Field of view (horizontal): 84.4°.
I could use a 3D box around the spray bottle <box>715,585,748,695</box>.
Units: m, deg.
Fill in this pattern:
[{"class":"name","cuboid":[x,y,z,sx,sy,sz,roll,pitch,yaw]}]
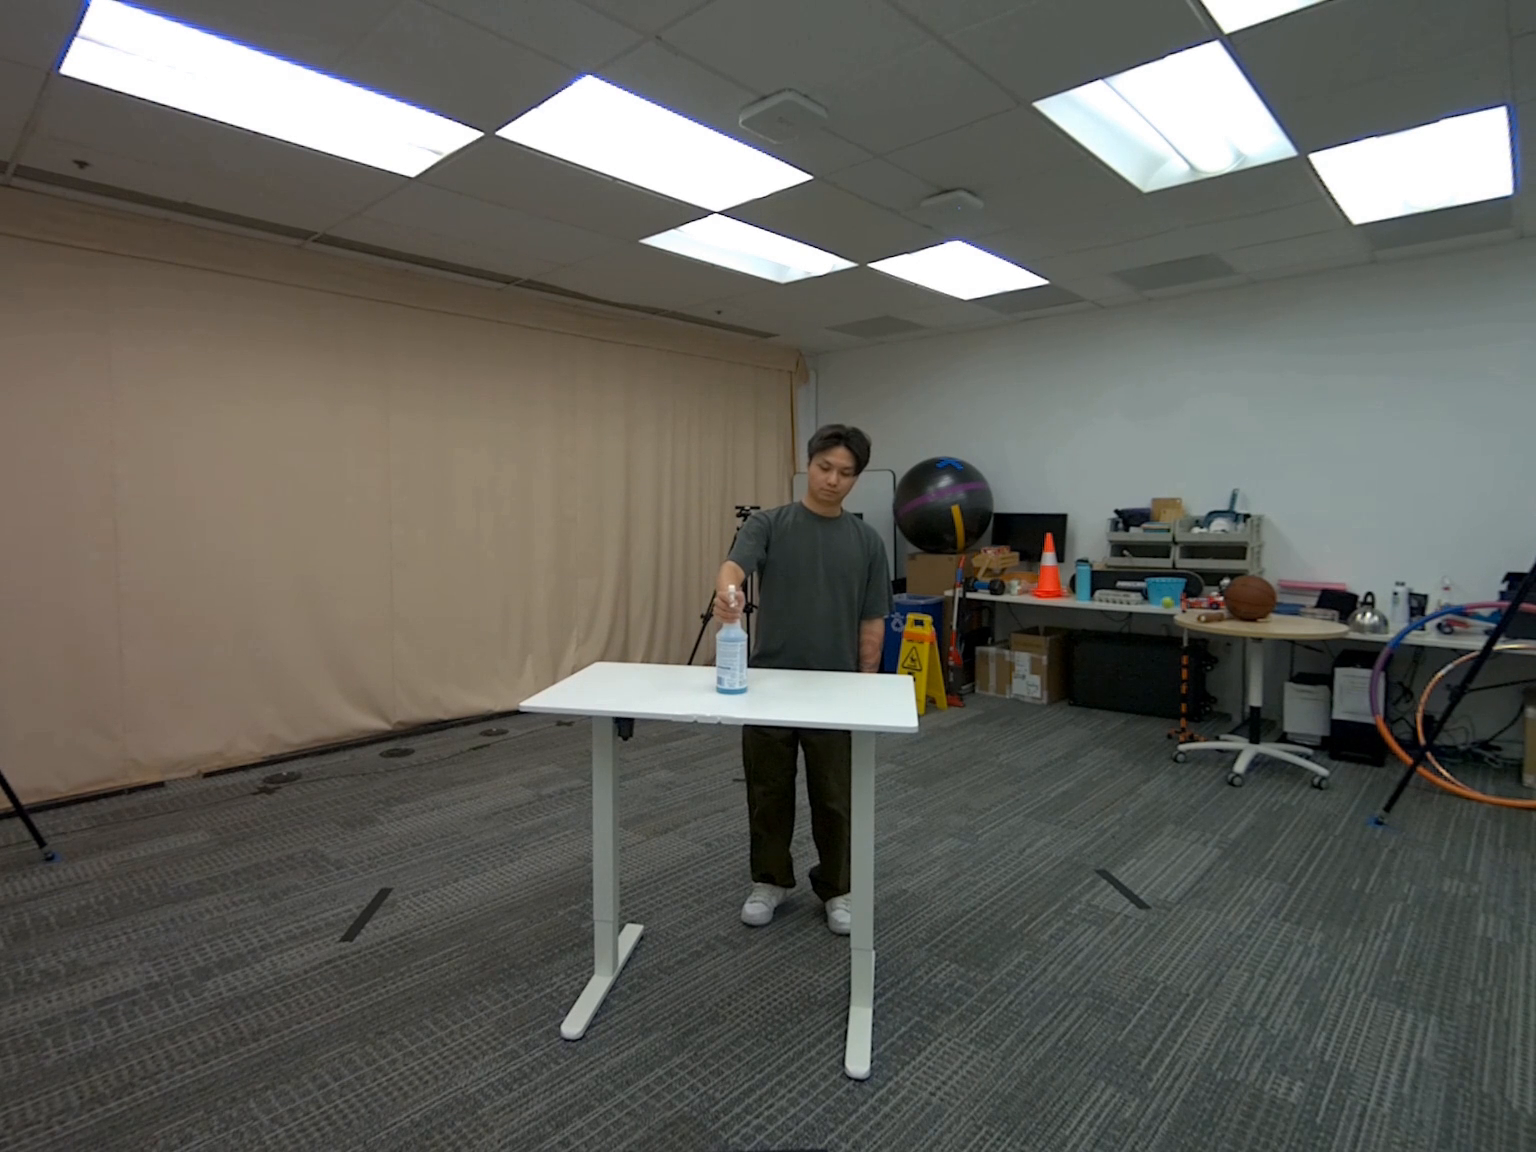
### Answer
[{"class":"spray bottle","cuboid":[-0.091,0.177,2.305,0.089,0.296,0.088,5,7,24]}]
